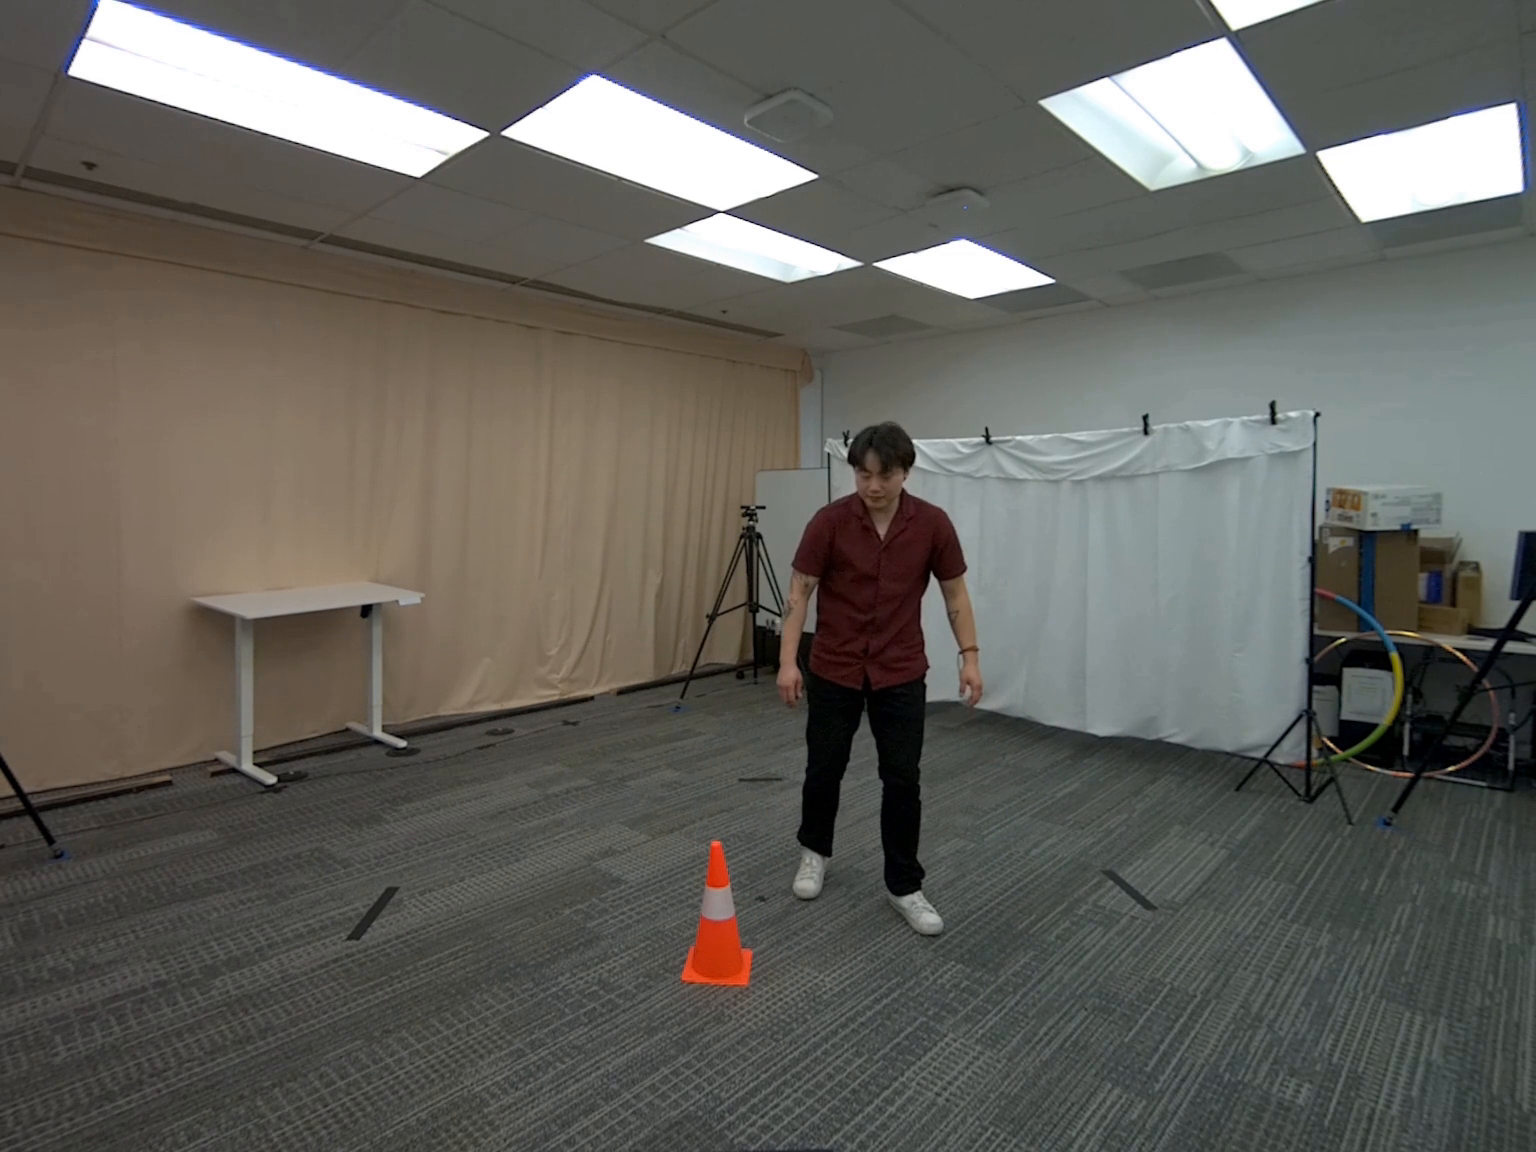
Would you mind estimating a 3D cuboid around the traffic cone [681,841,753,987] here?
[{"bbox_3d":[-0.147,0.999,2.530,0.205,0.383,0.204,0,4,7],"label":"traffic cone"}]
